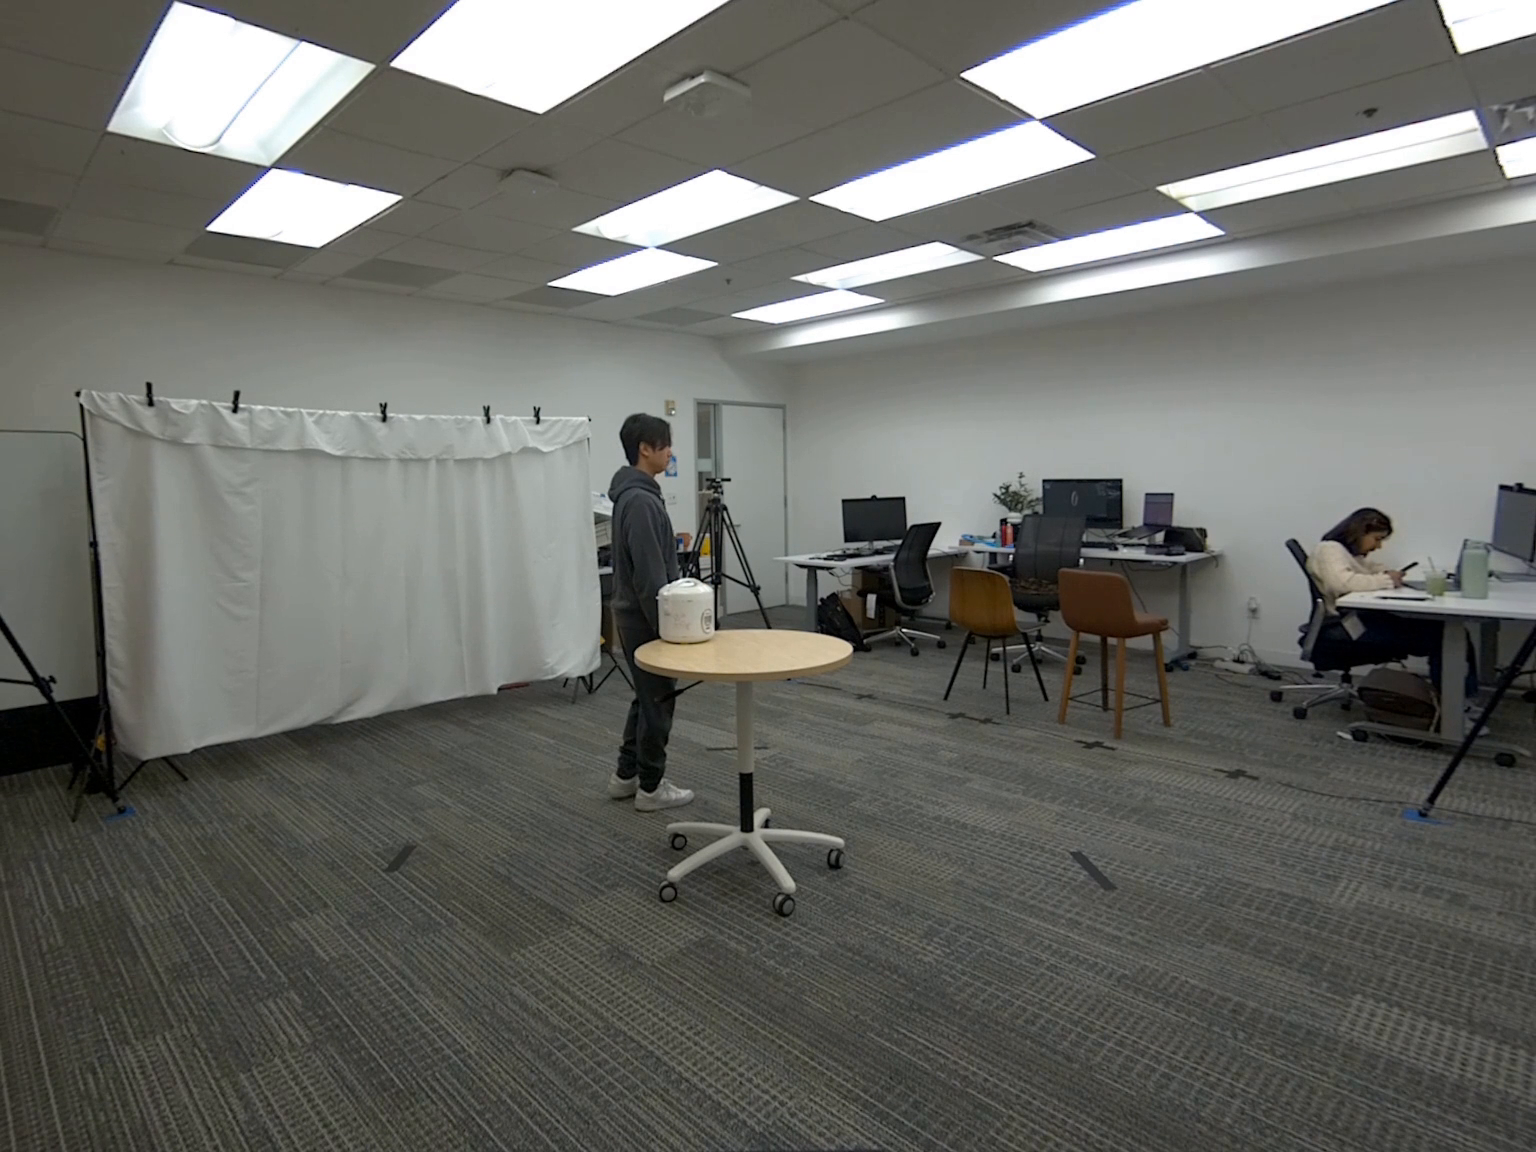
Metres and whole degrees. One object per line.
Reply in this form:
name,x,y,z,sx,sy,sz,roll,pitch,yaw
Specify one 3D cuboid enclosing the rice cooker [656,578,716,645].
rice cooker,-0.302,0.125,3.201,0.224,0.232,0.215,0,5,40
